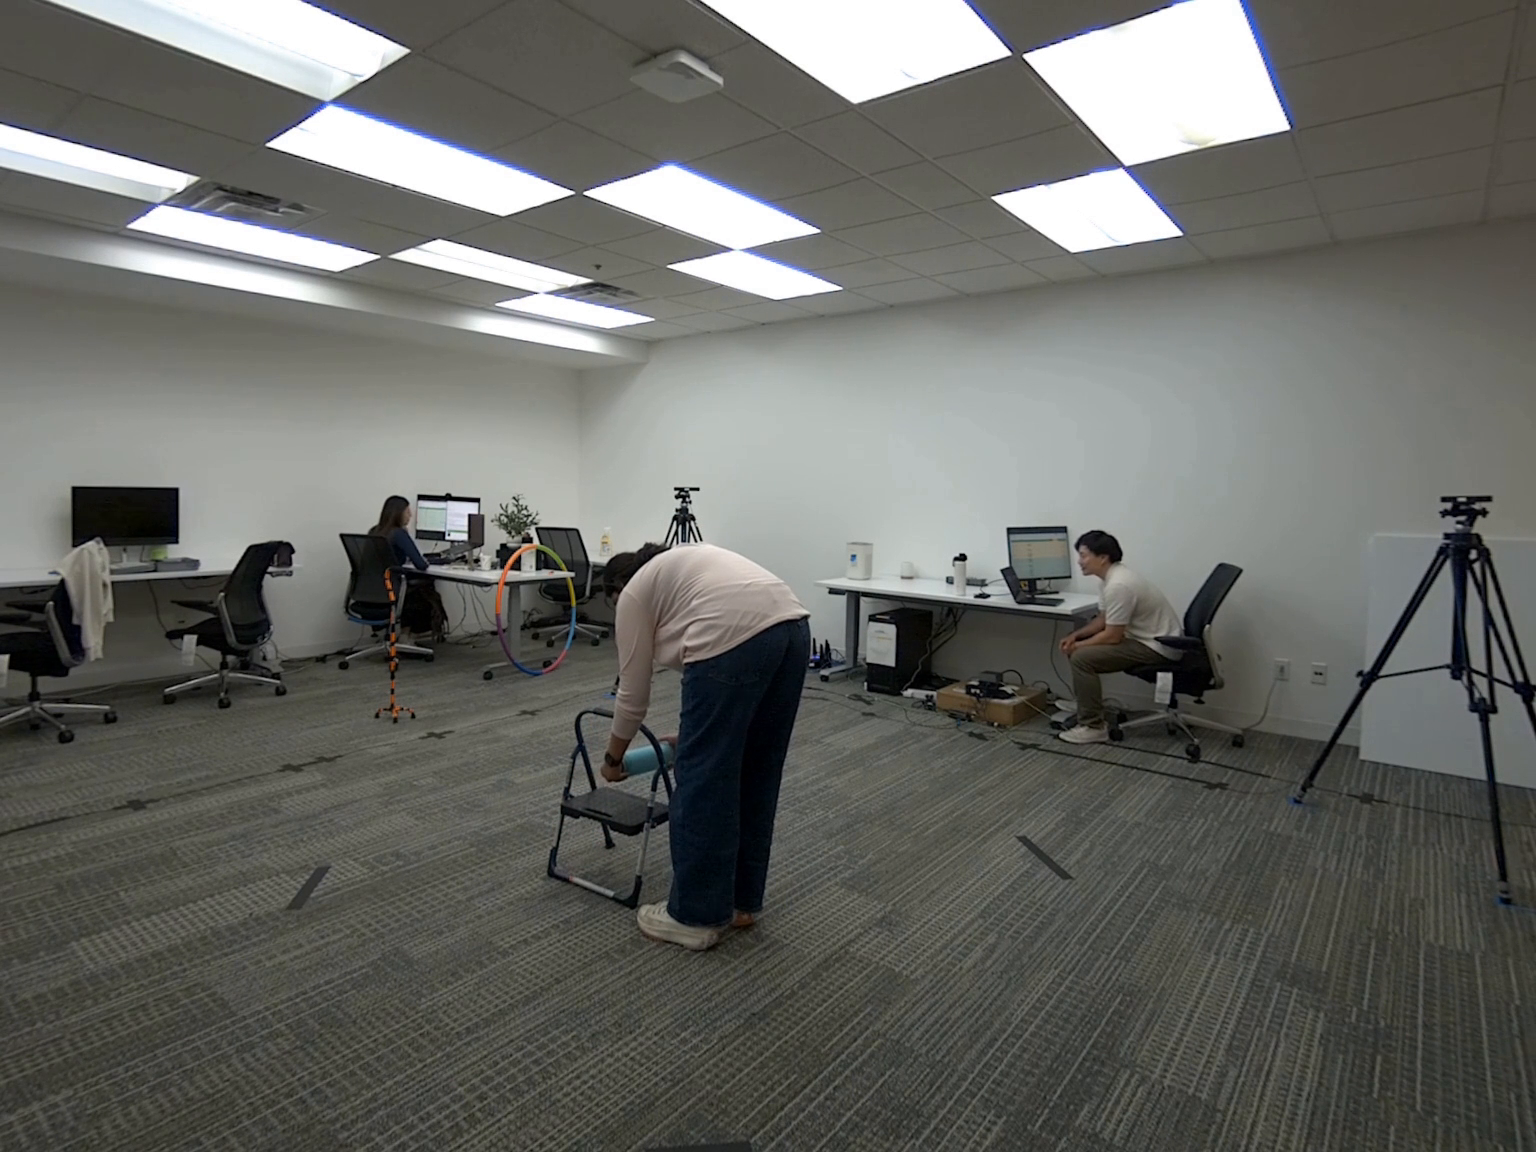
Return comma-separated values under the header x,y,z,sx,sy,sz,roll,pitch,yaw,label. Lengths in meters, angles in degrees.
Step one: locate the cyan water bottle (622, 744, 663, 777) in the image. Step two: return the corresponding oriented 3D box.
x,y,z,sx,sy,sz,roll,pitch,yaw,label
-0.473,0.658,3.025,0.095,0.092,0.275,4,2,32,cyan water bottle
